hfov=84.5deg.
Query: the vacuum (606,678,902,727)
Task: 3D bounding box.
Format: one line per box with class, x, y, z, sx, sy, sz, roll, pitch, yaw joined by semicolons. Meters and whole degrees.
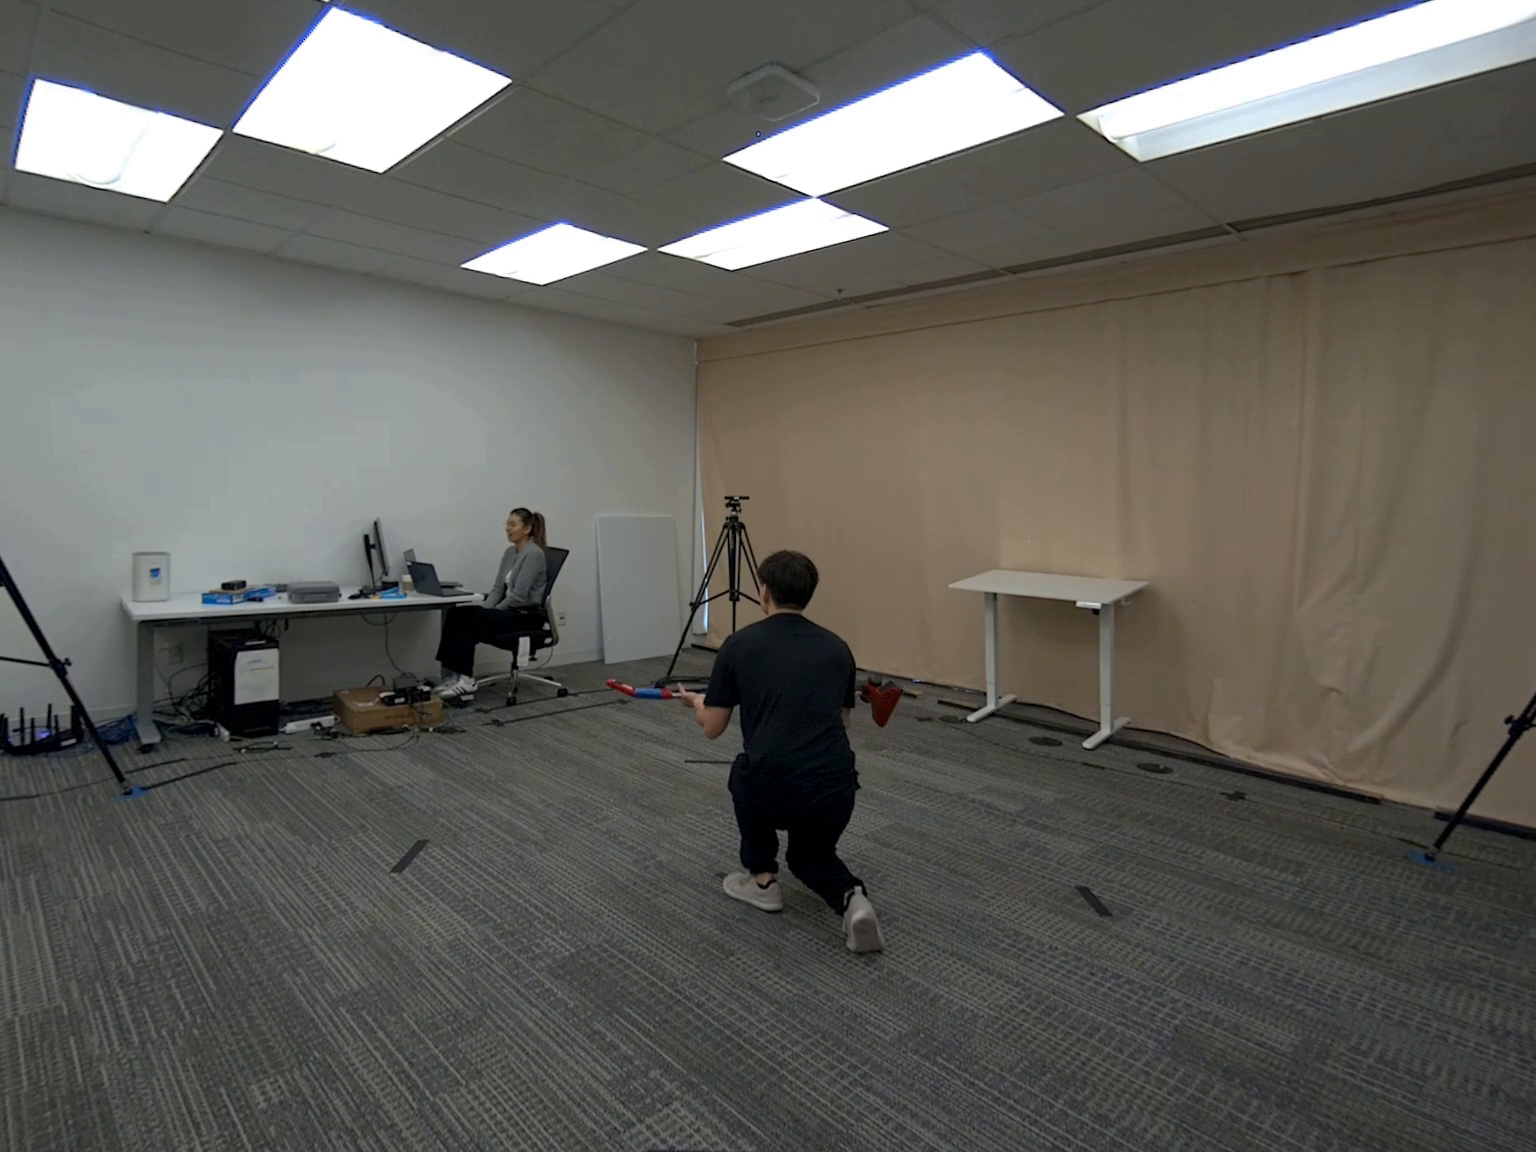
vacuum;-0.066;0.427;3.173;1.041;0.248;0.147;5;43;-9
